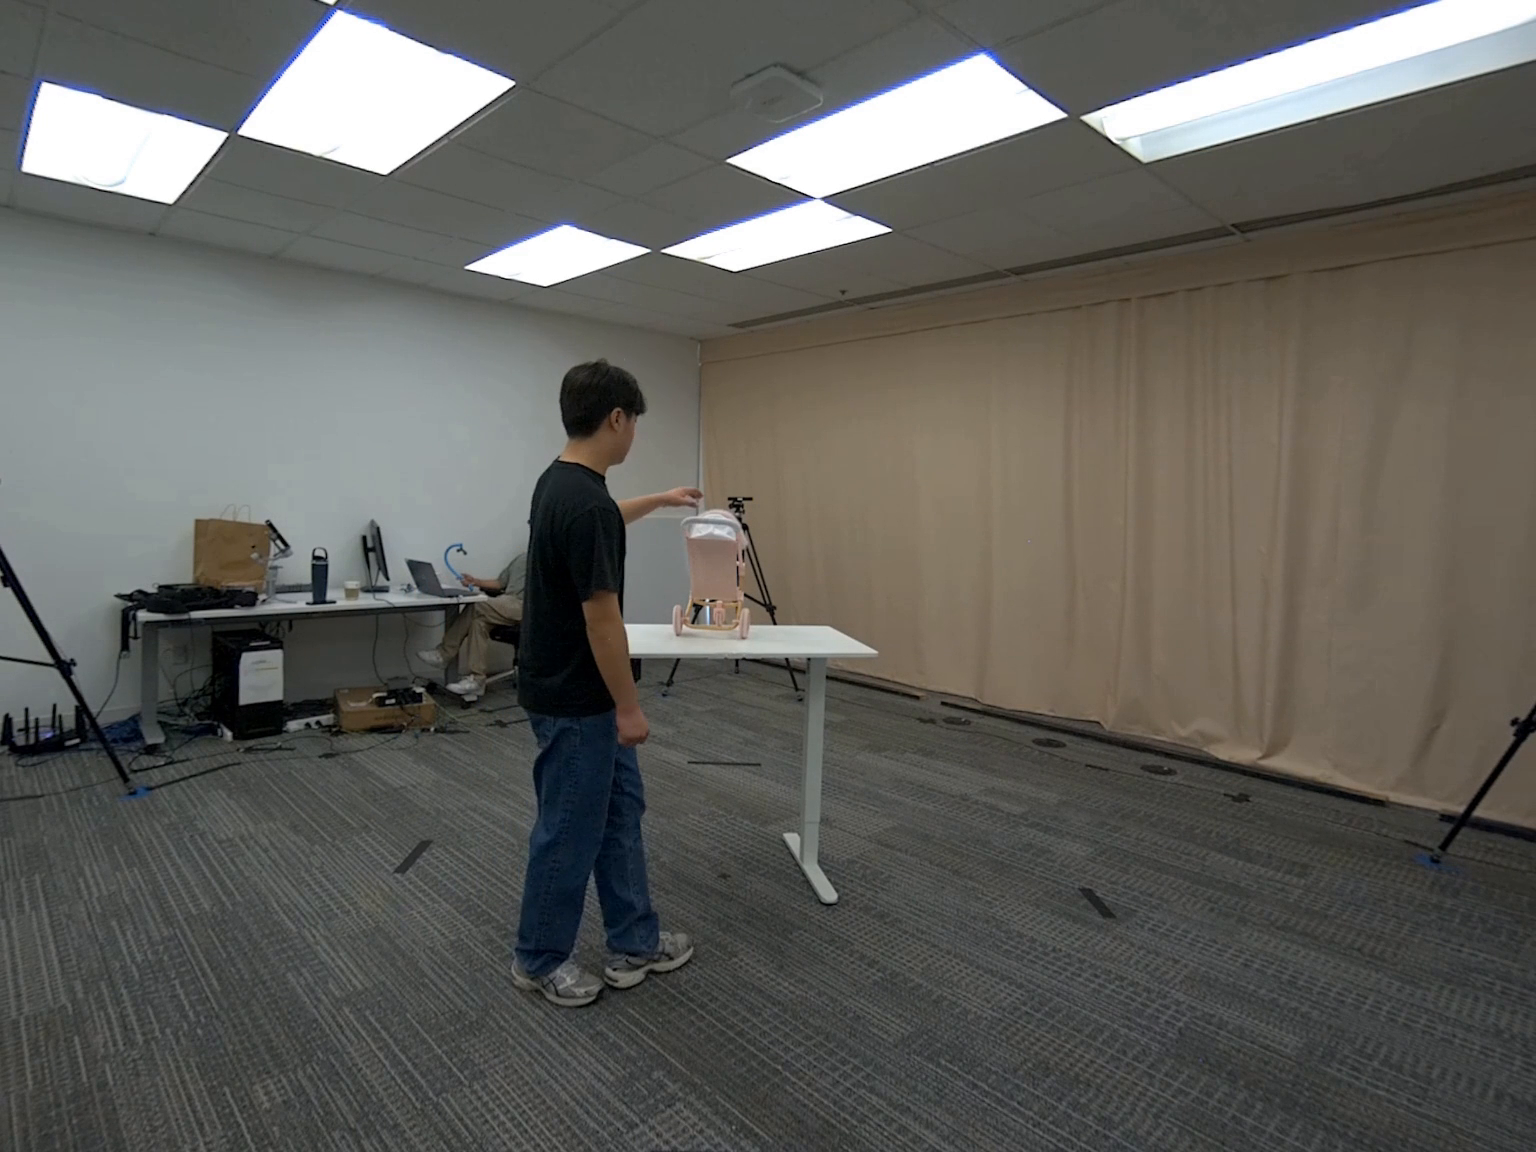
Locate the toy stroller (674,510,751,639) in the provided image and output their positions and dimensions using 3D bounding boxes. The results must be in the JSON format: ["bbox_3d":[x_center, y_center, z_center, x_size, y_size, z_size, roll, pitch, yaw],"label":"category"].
[{"bbox_3d":[-0.199,-0.005,3.148,0.284,0.528,0.343,3,19,9],"label":"toy stroller"}]
